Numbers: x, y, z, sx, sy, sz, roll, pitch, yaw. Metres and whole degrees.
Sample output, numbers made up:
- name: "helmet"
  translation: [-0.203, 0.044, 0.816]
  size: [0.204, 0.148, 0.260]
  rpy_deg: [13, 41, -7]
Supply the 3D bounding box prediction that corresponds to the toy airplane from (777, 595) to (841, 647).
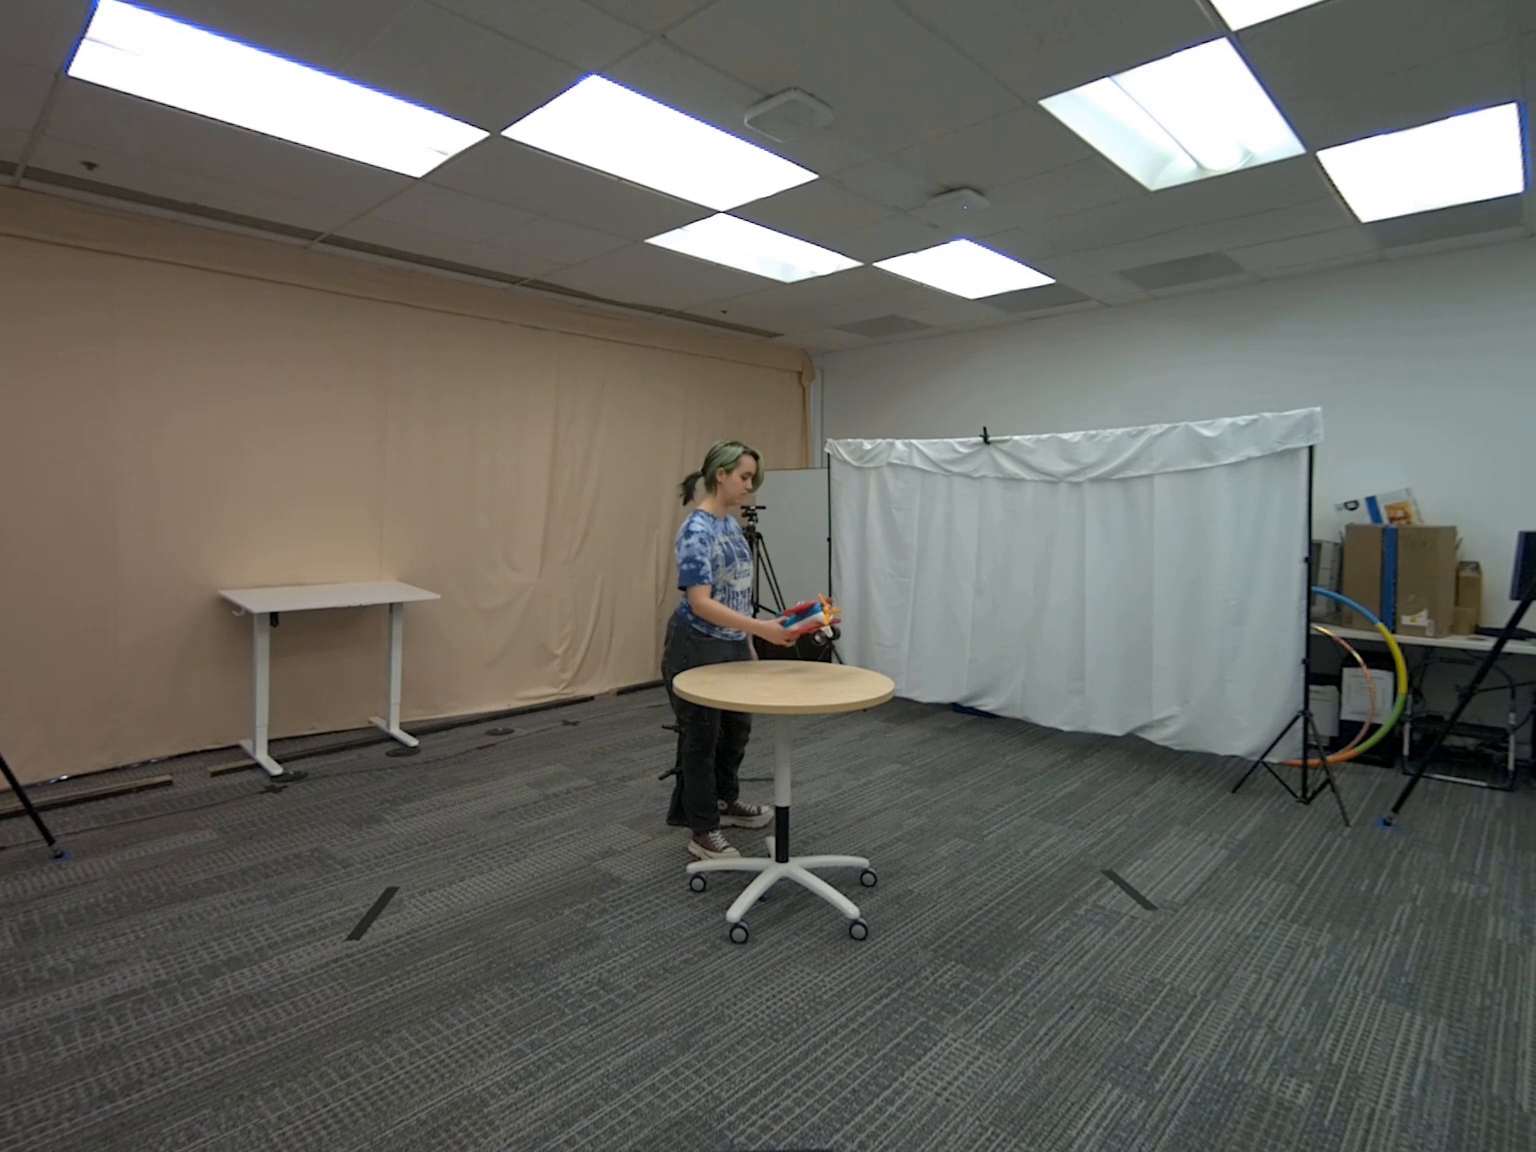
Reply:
- name: "toy airplane"
  translation: [0.125, 0.177, 3.058]
  size: [0.263, 0.156, 0.247]
  rpy_deg: [-9, 0, 15]
